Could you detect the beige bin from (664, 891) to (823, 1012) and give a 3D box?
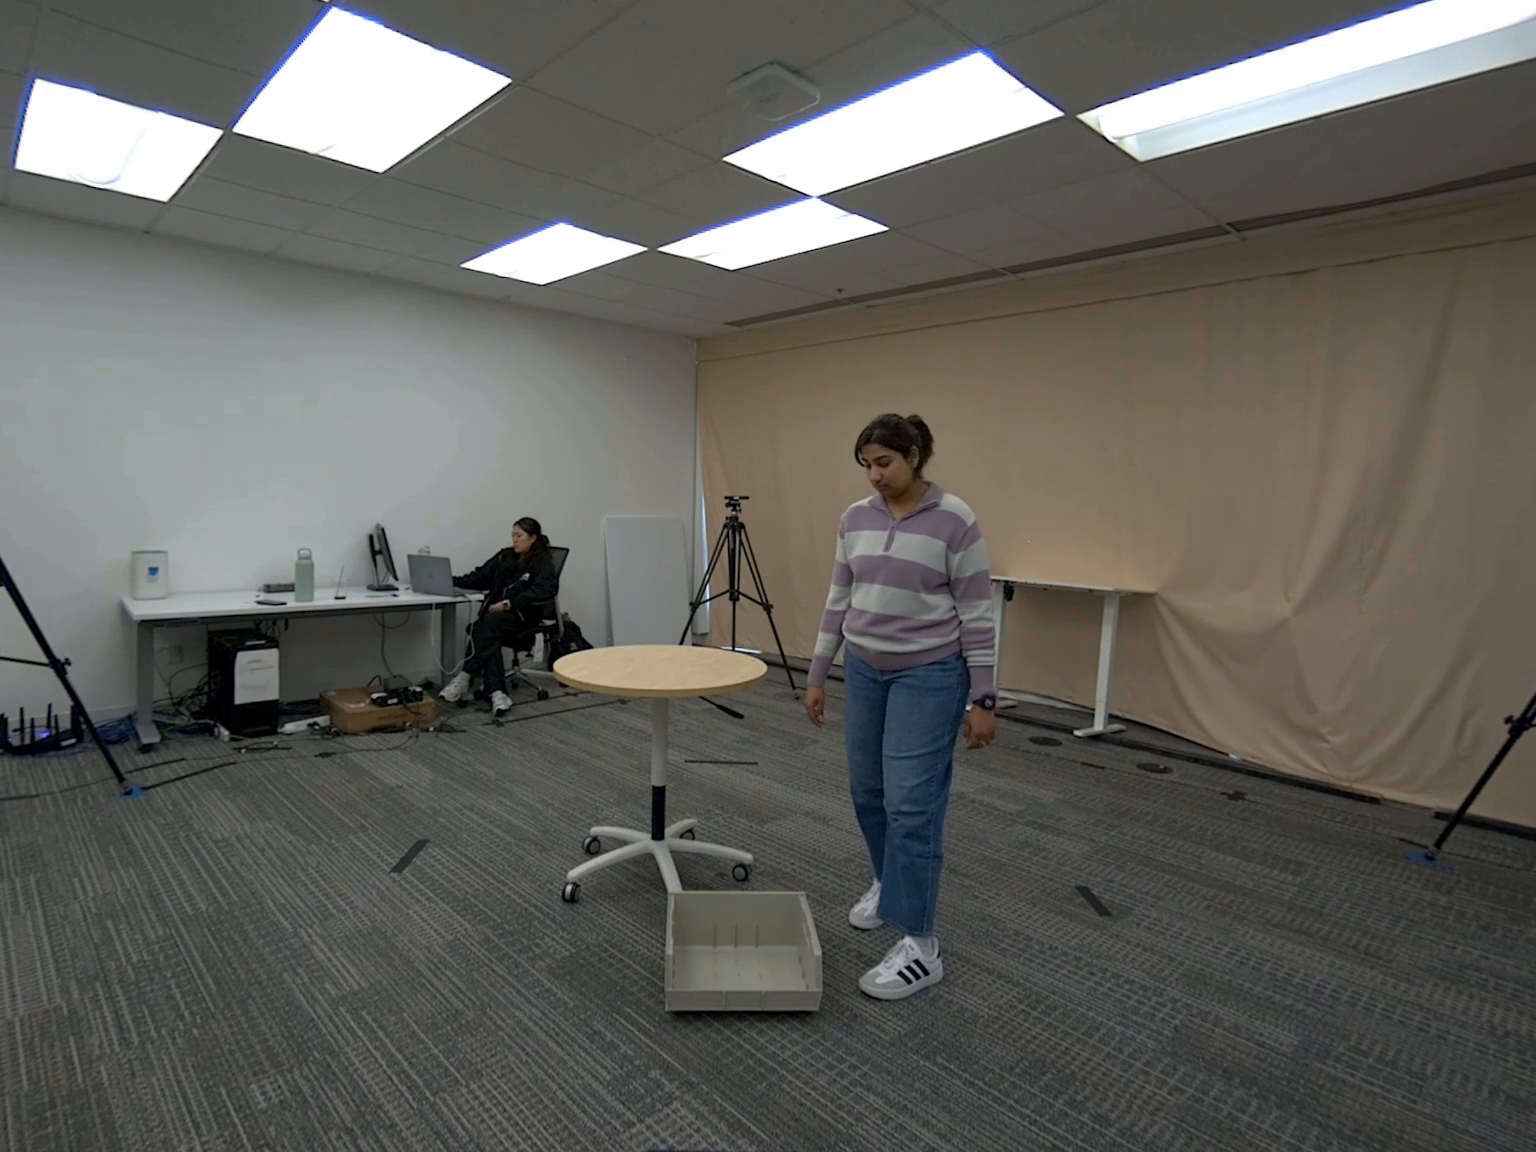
[{"bbox_3d":[-0.082,1.081,2.404,0.421,0.188,0.379,1,4,-4],"label":"beige bin"}]
